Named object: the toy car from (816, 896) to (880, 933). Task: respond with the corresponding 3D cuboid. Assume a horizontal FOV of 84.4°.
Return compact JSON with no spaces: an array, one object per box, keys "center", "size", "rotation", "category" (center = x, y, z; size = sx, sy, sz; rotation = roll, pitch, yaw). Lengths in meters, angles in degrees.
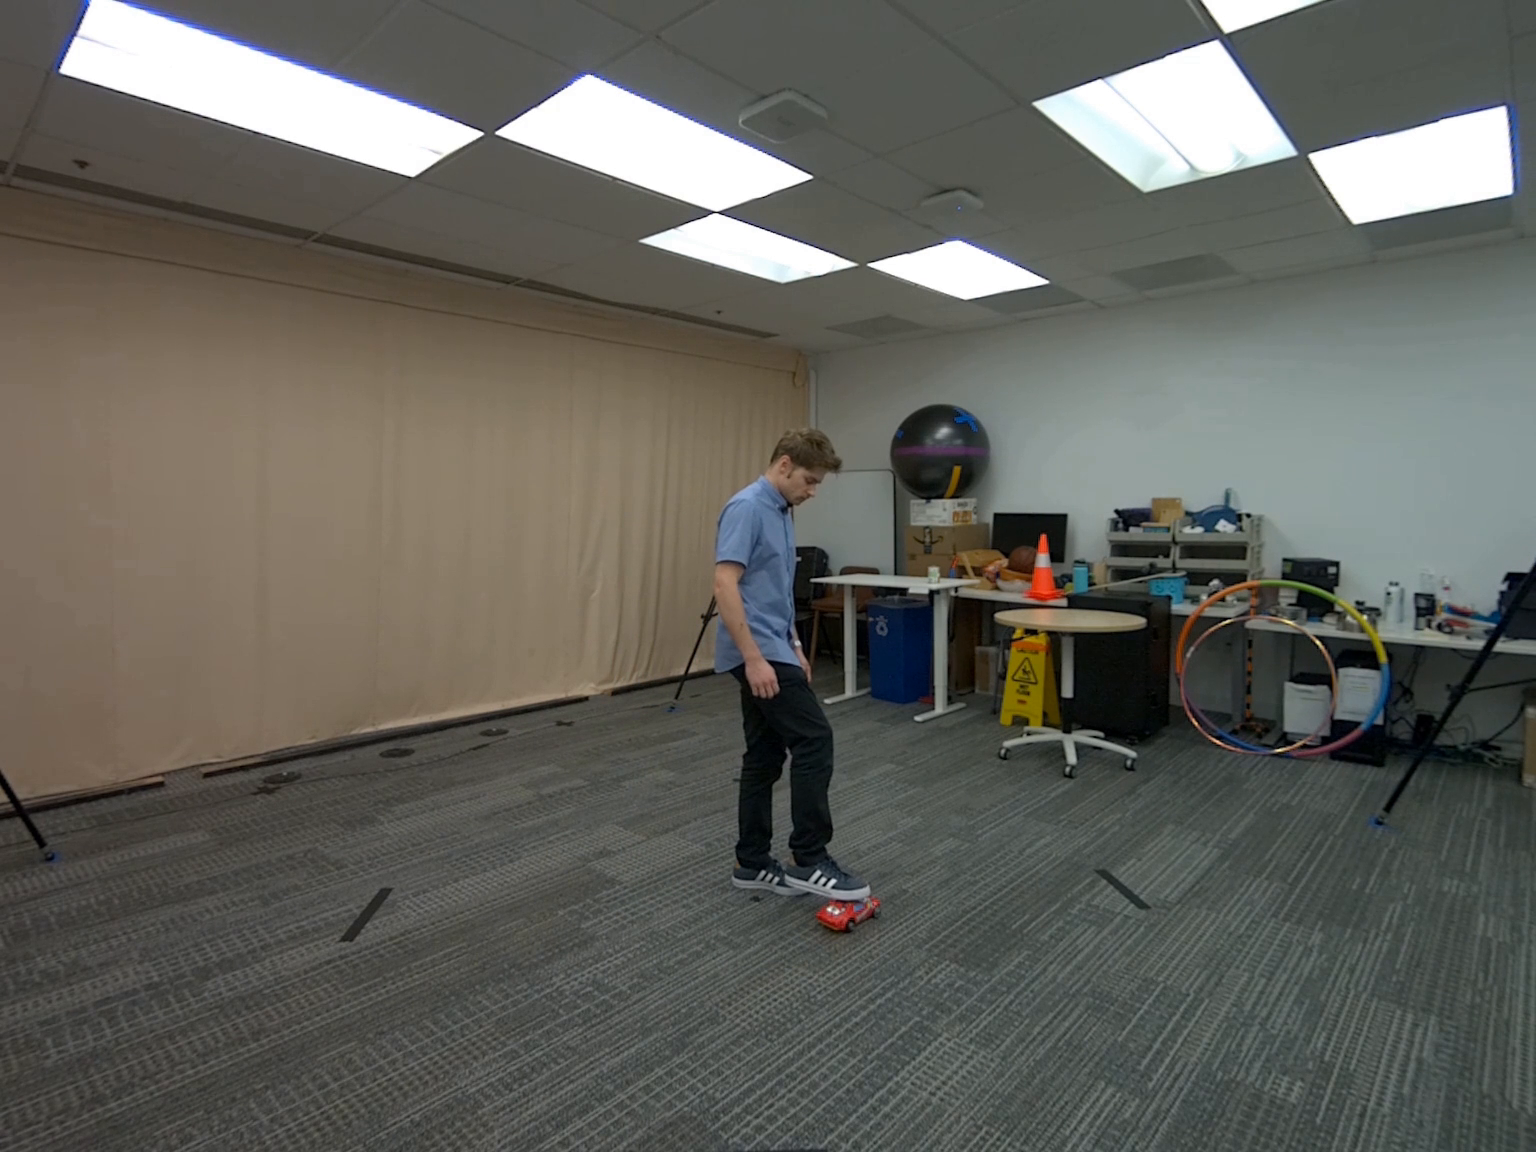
[{"center":[0.266,1.126,2.814],"size":[0.246,0.083,0.135],"rotation":[9,-3,-43],"category":"toy car"}]
